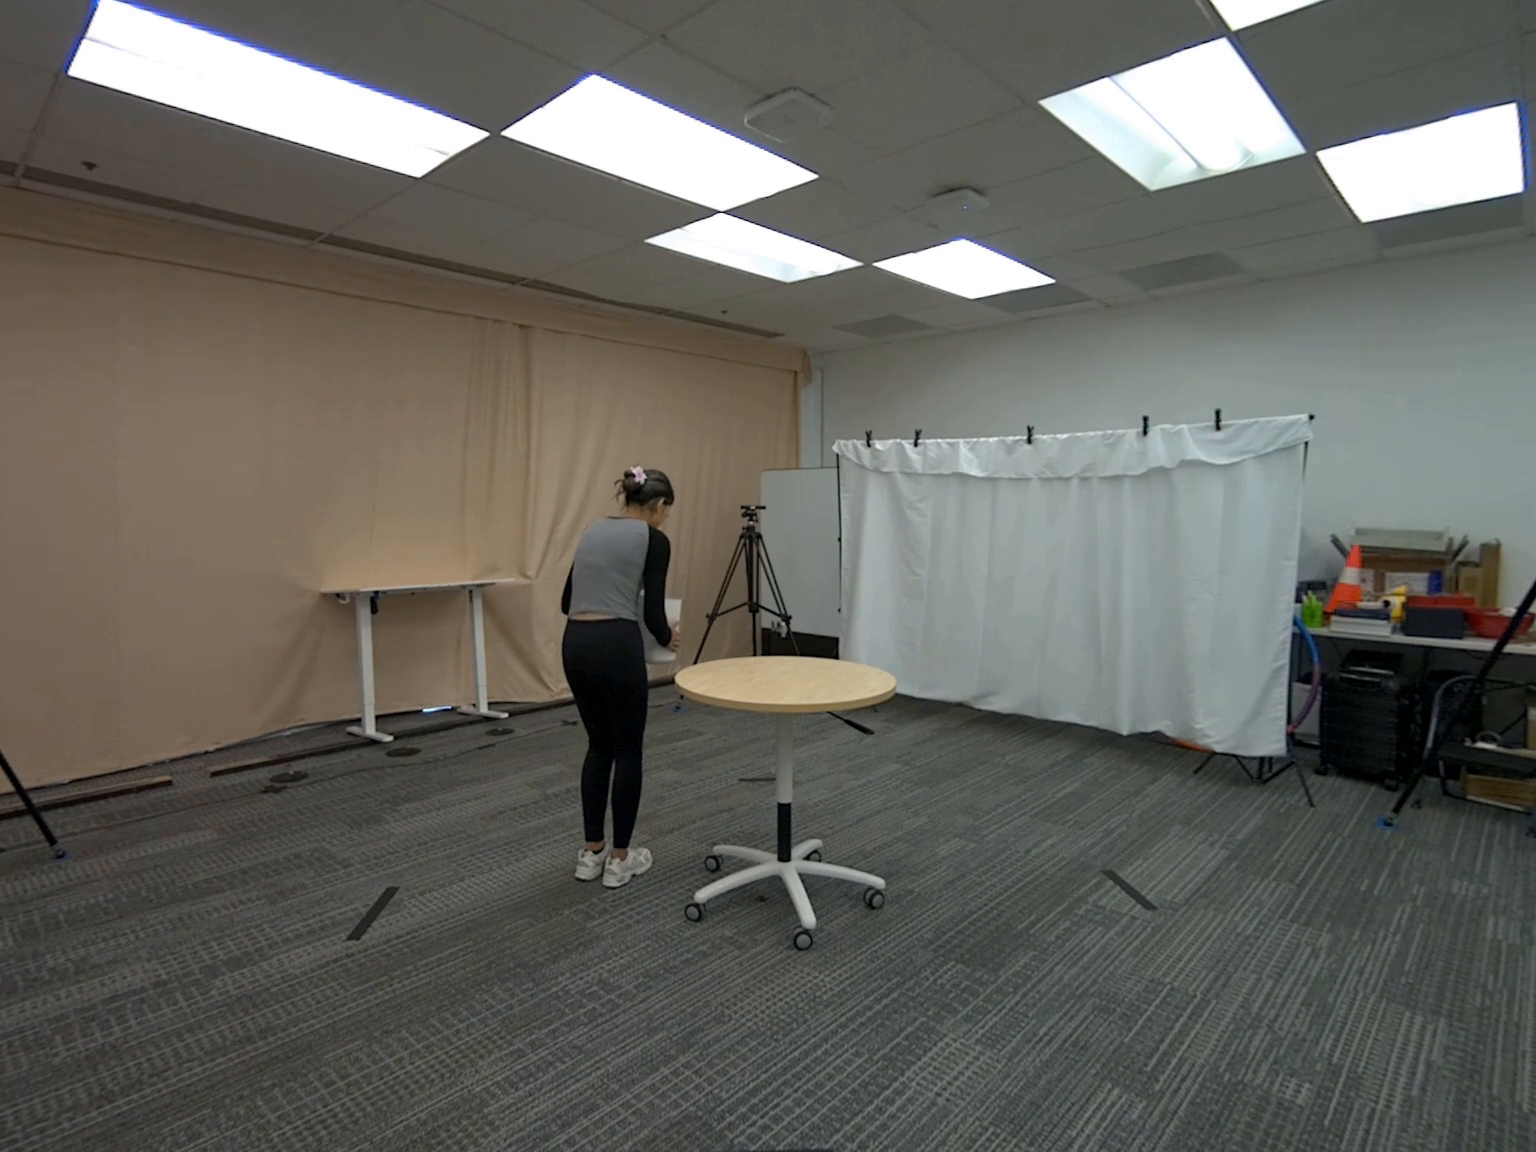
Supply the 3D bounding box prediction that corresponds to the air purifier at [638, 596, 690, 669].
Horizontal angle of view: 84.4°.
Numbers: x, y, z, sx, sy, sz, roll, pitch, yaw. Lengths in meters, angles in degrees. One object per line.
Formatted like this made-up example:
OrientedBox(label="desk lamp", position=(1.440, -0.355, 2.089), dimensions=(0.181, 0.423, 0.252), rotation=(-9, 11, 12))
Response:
OrientedBox(label="air purifier", position=(-0.453, 0.219, 3.381), dimensions=(0.177, 0.266, 0.166), rotation=(6, -3, 38))
